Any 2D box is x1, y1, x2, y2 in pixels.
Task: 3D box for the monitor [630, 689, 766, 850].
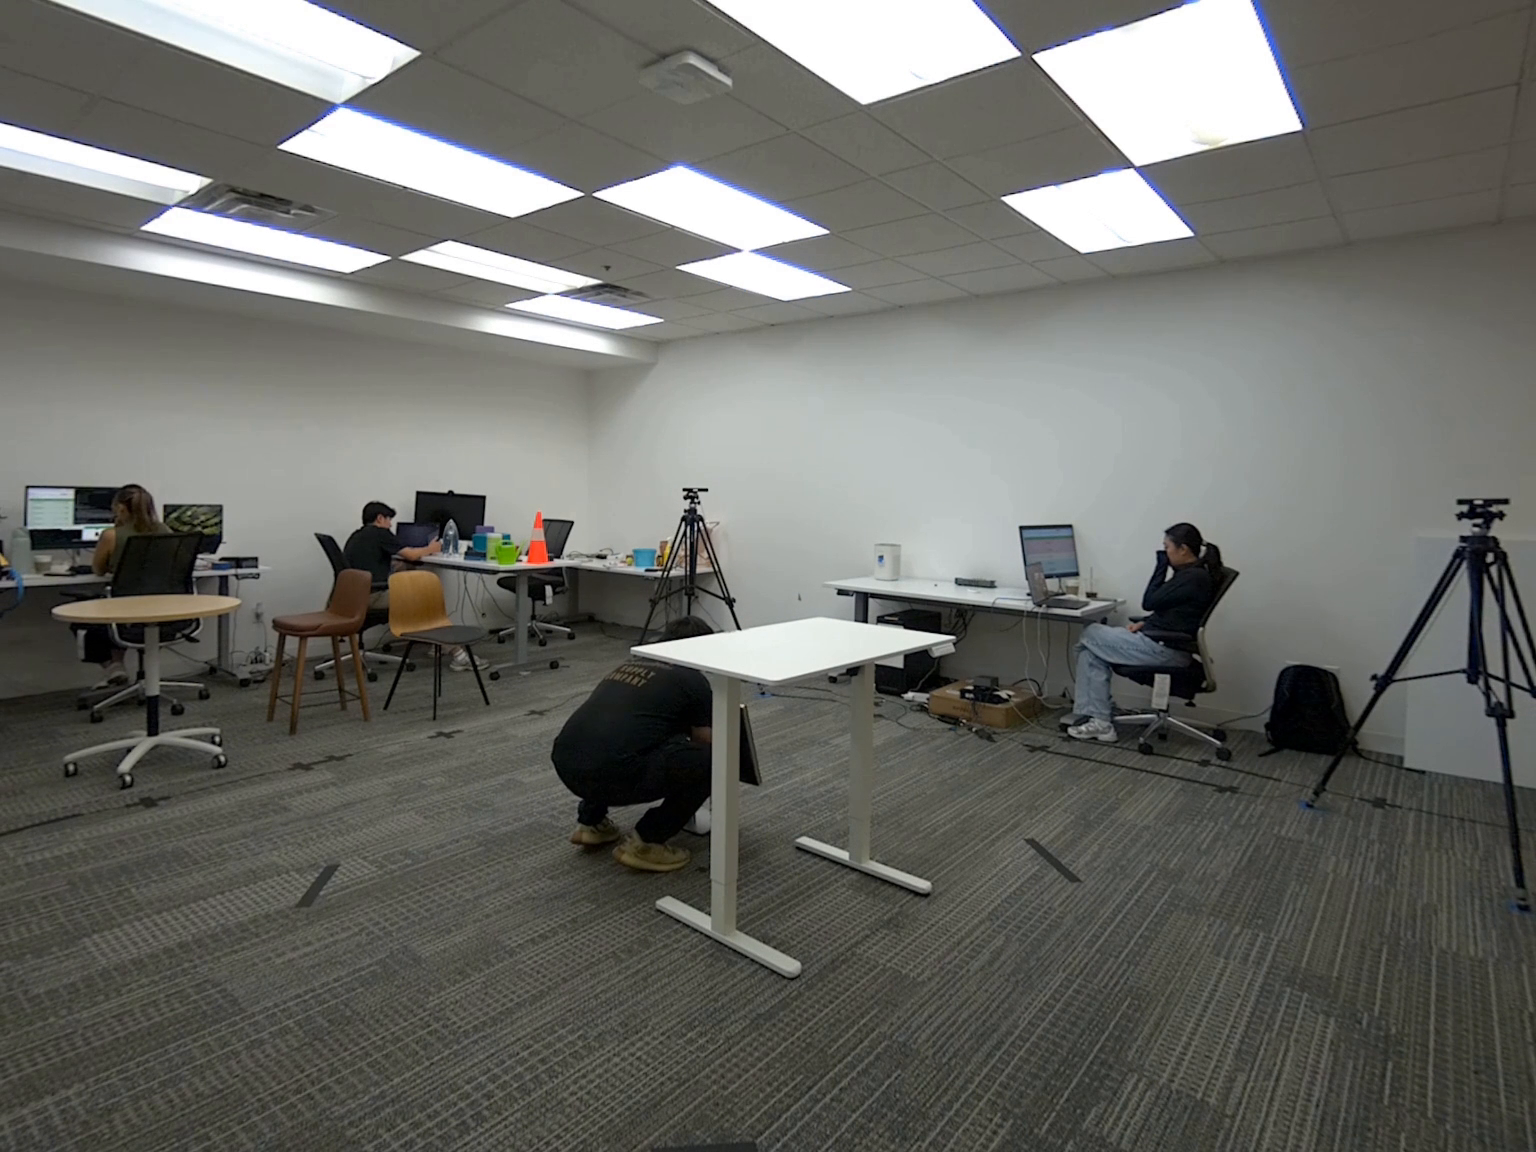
[{"bbox_3d":[-0.328,0.758,3.505,0.584,0.548,0.205,4,13,37],"label":"monitor"}]
